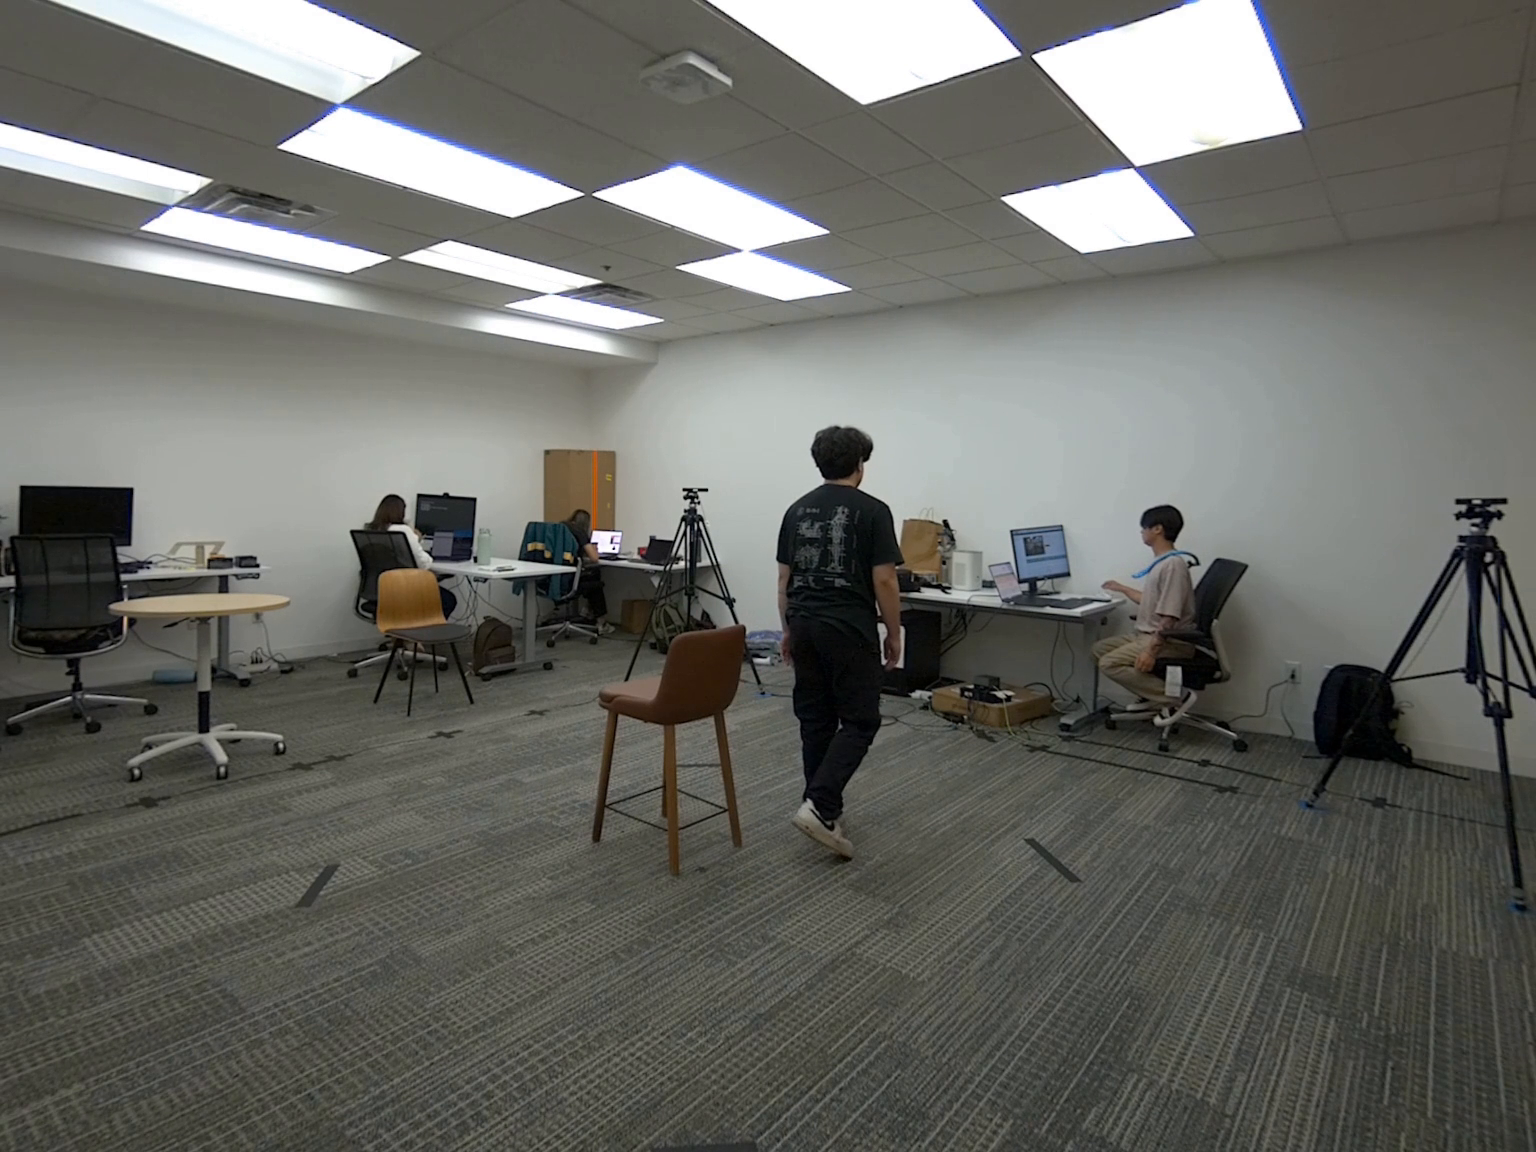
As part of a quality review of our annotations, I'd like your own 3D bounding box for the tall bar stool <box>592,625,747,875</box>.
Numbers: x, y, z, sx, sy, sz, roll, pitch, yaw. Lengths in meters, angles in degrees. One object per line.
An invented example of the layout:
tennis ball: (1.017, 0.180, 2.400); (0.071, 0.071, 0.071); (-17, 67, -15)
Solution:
tall bar stool: (-0.393, 0.615, 3.312); (0.484, 0.887, 0.443); (5, 5, 40)
